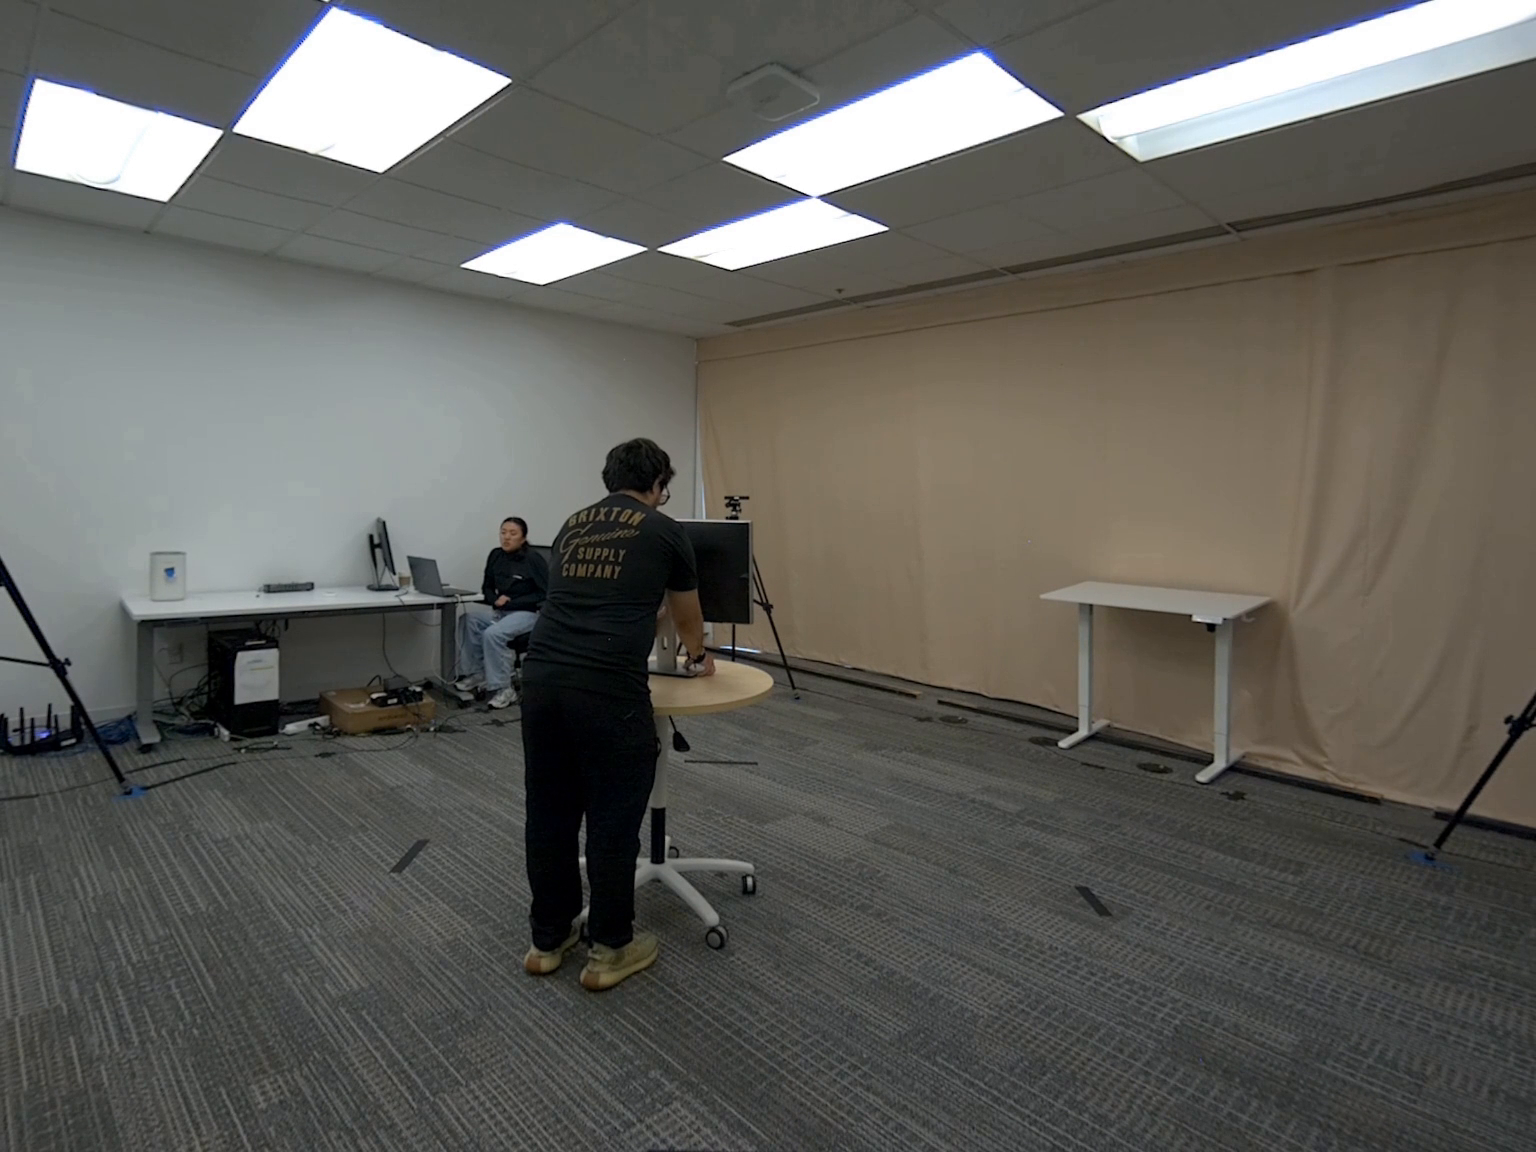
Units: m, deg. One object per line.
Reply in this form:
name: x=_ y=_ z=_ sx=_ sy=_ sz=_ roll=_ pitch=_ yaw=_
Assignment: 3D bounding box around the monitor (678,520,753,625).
monitor: x=-0.339 y=0.075 z=2.940 sx=0.574 sy=0.552 sz=0.207 roll=2 pitch=5 yaw=20
